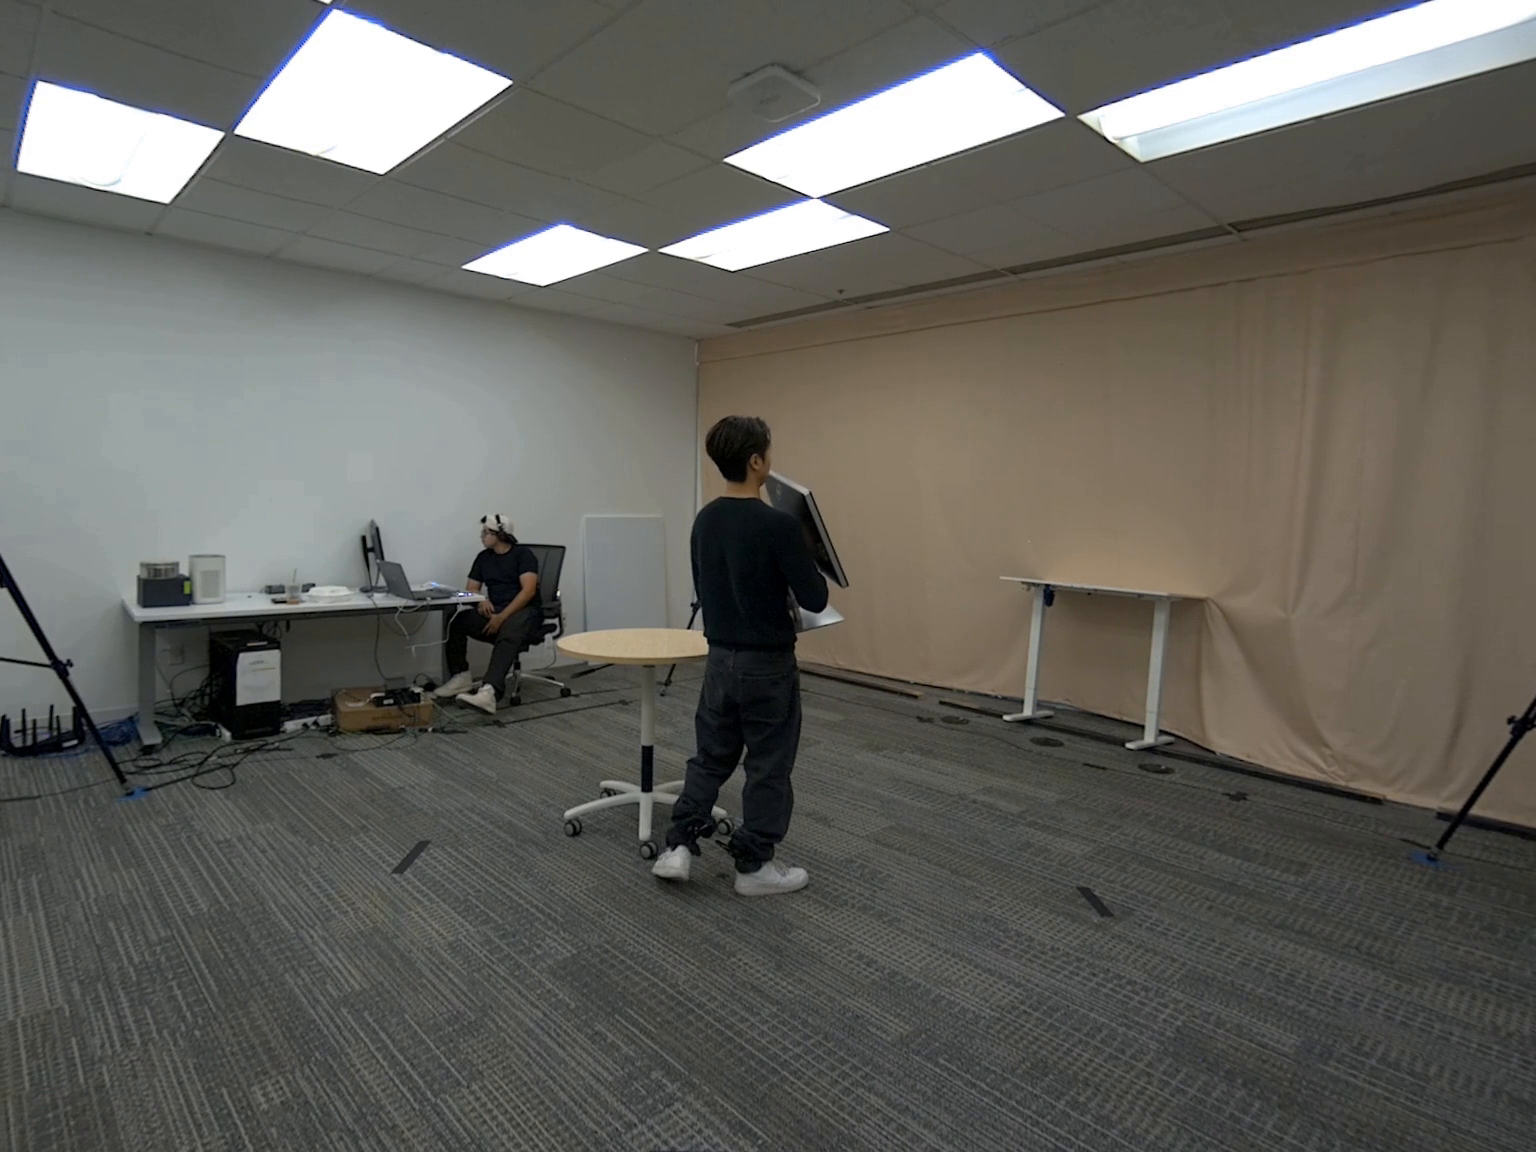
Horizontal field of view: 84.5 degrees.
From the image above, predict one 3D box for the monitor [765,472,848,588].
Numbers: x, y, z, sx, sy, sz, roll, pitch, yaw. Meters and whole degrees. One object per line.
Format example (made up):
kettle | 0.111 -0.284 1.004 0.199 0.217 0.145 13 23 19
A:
monitor | 0.101 -0.101 3.061 0.173 0.509 0.541 -8 17 -14
